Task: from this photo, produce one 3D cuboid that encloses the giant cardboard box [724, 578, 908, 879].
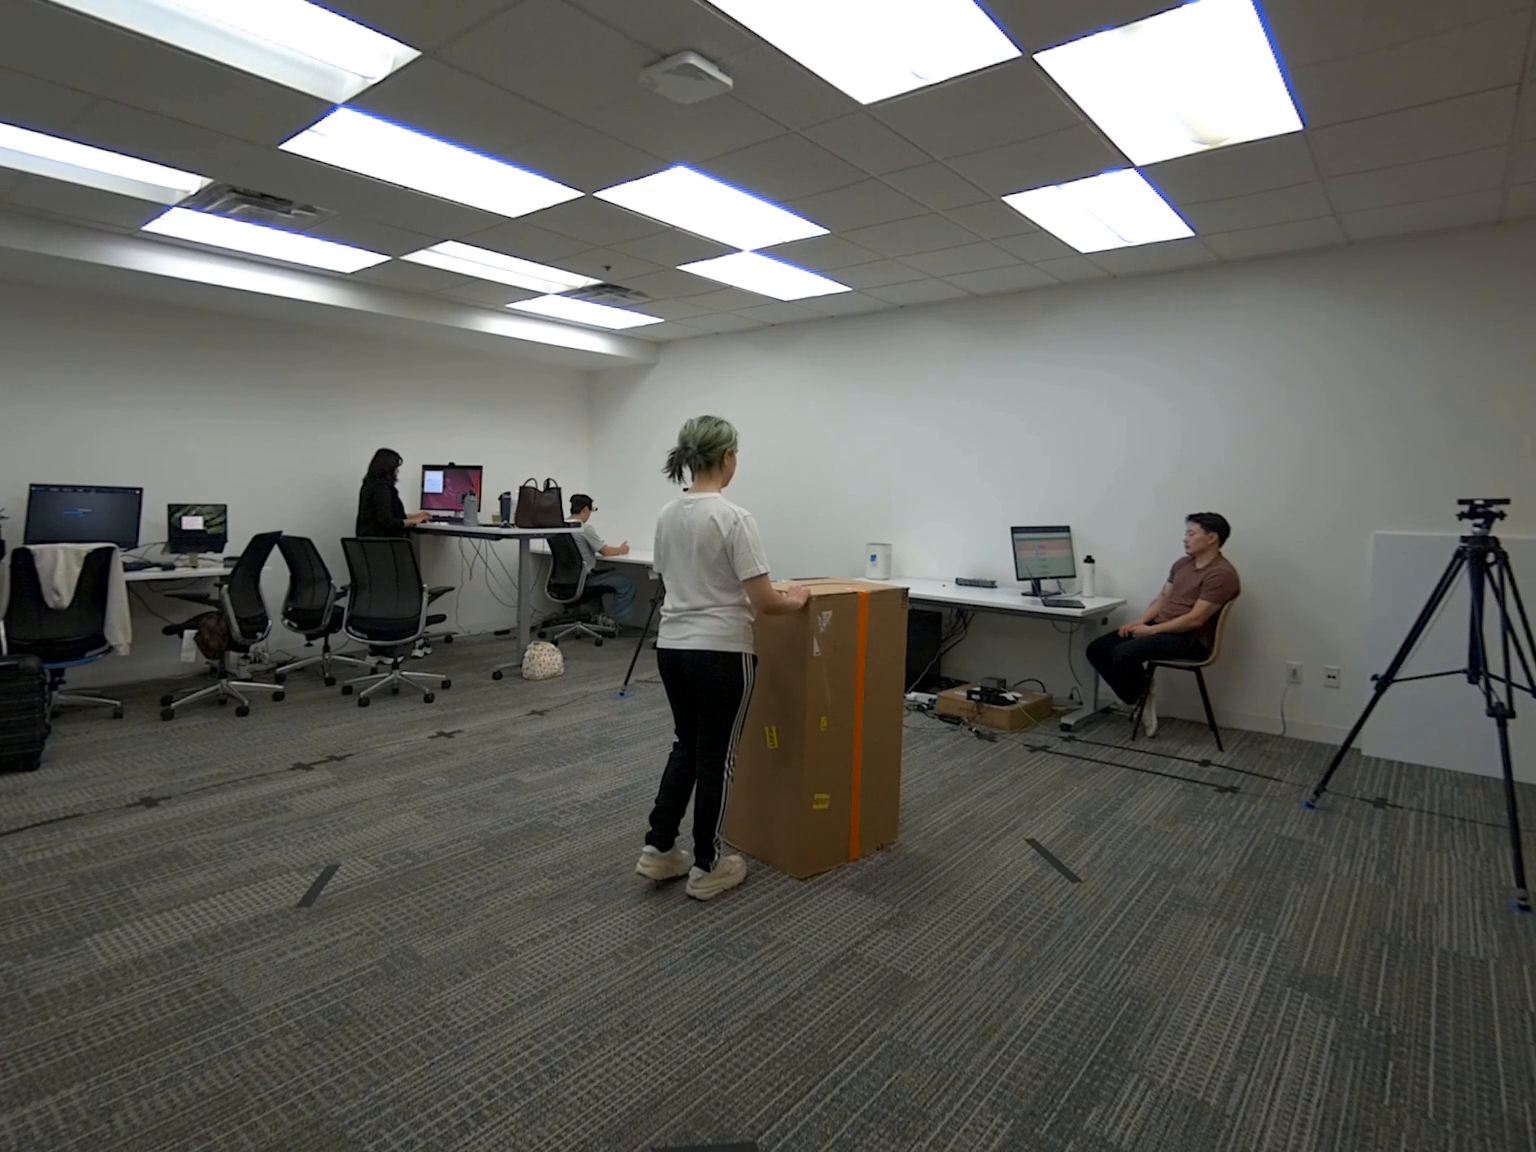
[{"bbox_3d":[0.187,0.547,3.357,0.566,1.025,0.462,-1,3,-44],"label":"giant cardboard box"}]
